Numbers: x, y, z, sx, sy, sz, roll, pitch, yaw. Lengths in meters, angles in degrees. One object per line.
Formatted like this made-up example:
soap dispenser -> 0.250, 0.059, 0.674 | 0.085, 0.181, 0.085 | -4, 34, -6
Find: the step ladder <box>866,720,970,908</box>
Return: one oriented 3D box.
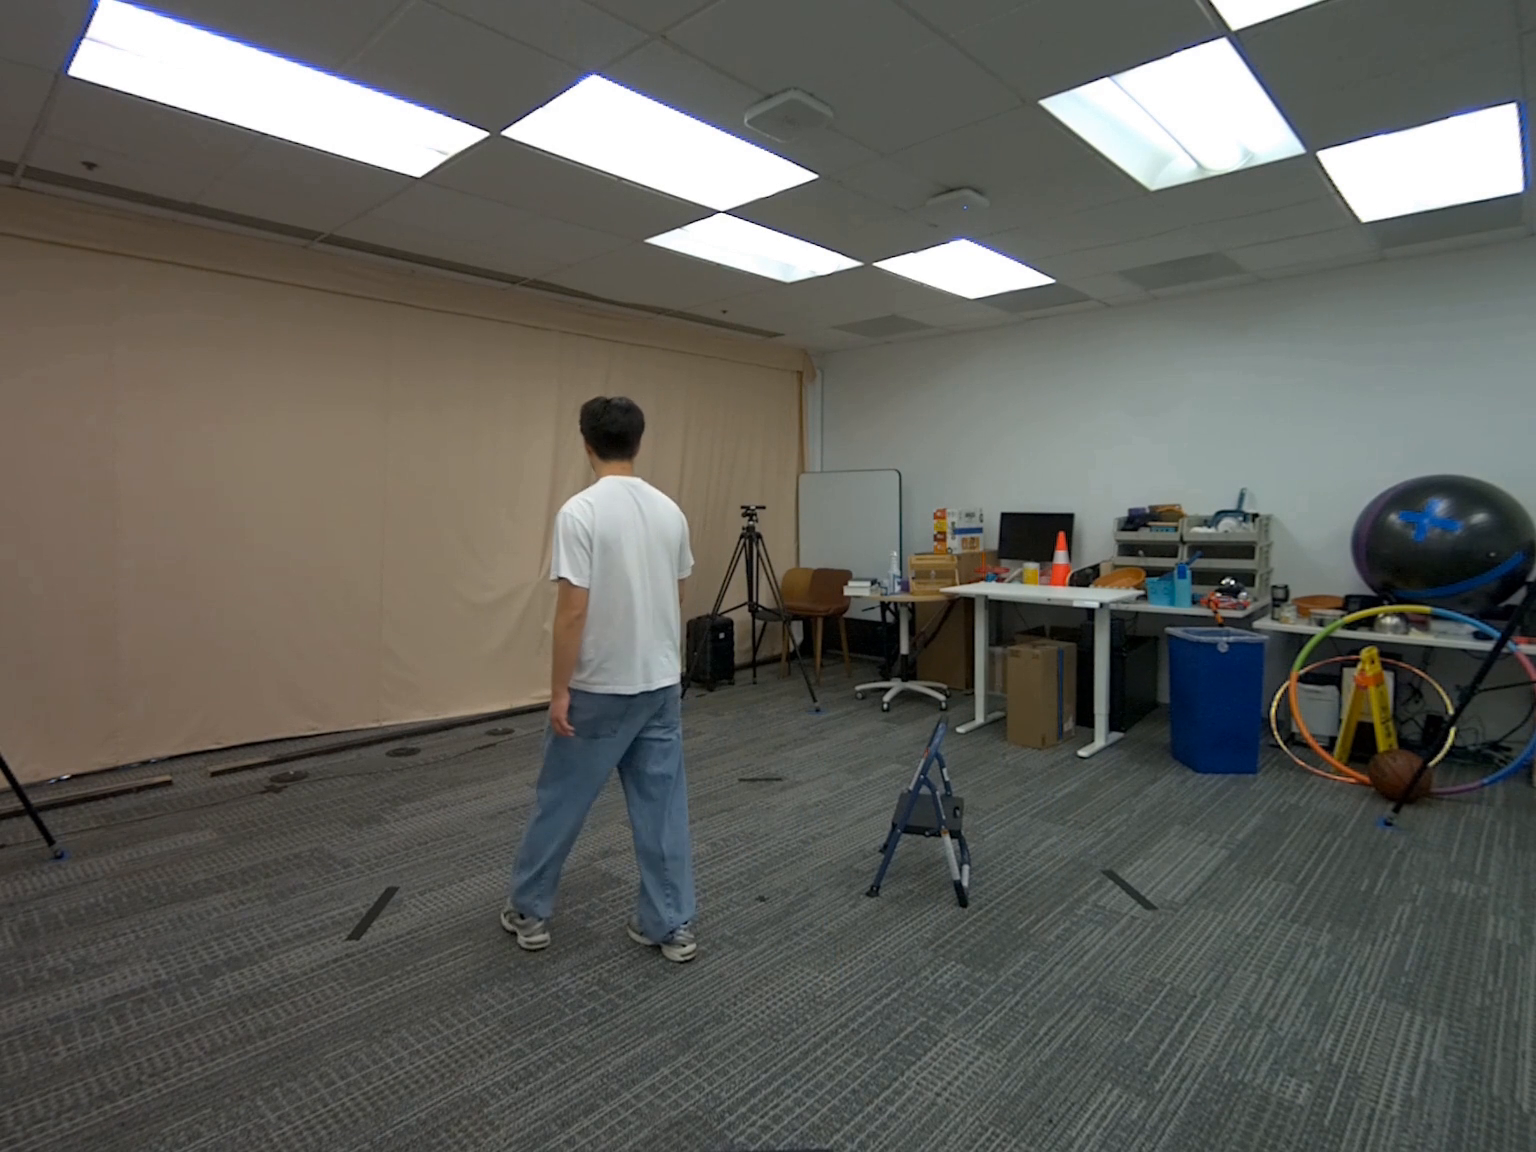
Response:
step ladder -> 0.576, 0.826, 3.134 | 0.355, 0.605, 0.424 | 0, 3, 16
